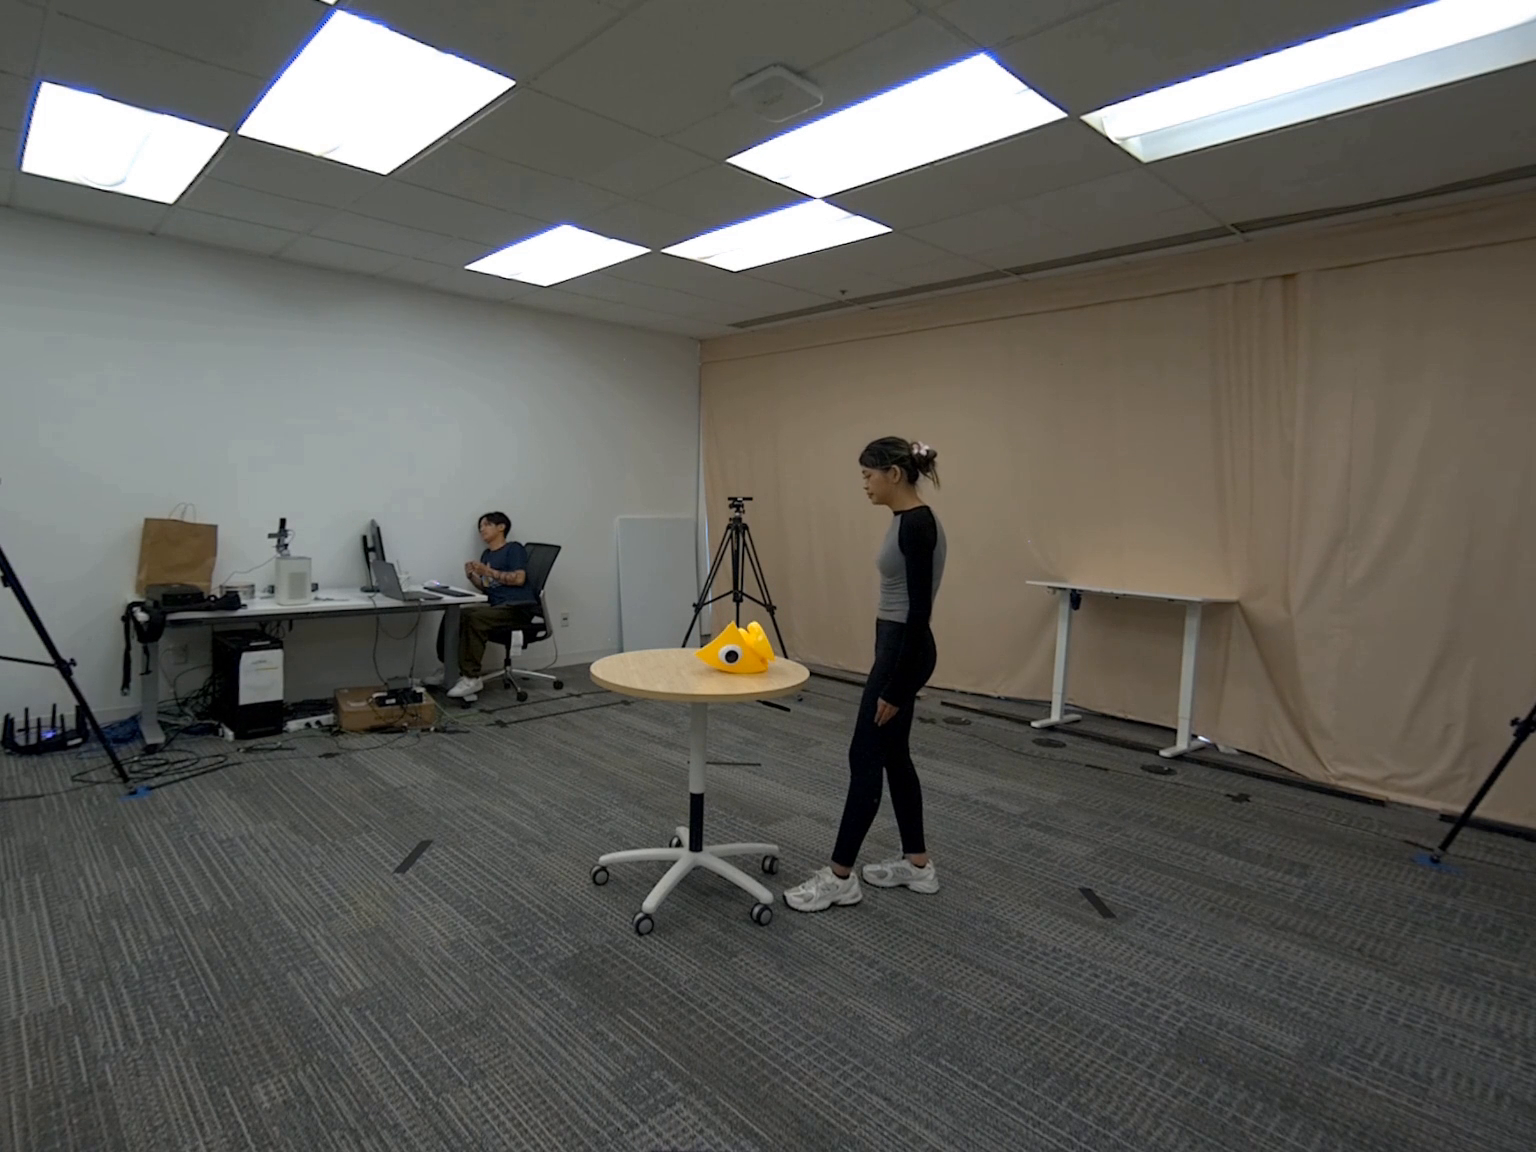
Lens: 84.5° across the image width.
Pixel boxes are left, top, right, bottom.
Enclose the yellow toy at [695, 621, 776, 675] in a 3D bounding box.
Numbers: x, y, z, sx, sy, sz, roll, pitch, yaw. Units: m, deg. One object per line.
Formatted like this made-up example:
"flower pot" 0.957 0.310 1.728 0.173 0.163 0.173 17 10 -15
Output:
"yellow toy" -0.132 0.275 2.919 0.229 0.196 0.203 -24 -13 -17
